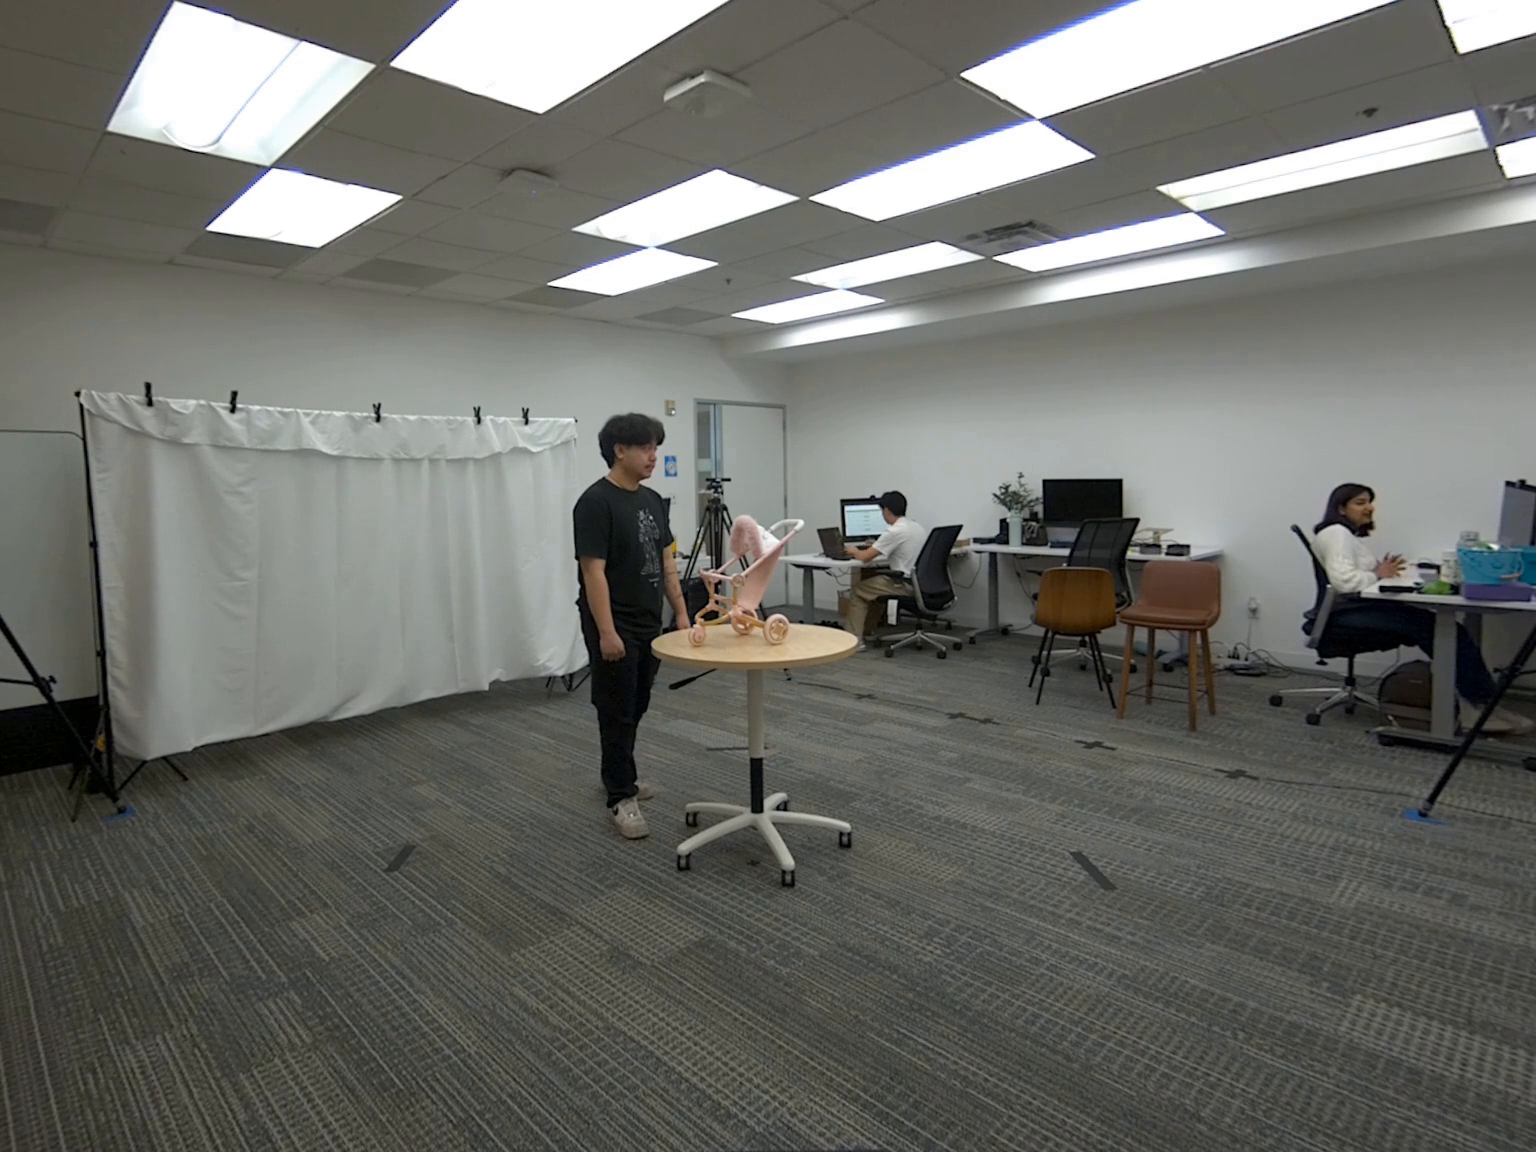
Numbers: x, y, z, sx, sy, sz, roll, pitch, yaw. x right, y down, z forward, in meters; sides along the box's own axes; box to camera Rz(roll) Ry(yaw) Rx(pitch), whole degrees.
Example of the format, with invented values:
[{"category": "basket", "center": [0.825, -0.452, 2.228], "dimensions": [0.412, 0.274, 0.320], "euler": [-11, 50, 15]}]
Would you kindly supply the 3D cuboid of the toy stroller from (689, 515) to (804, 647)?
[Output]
[{"category": "toy stroller", "center": [-0.096, 0.016, 3.159], "dimensions": [0.333, 0.536, 0.288], "euler": [12, -2, -23]}]
